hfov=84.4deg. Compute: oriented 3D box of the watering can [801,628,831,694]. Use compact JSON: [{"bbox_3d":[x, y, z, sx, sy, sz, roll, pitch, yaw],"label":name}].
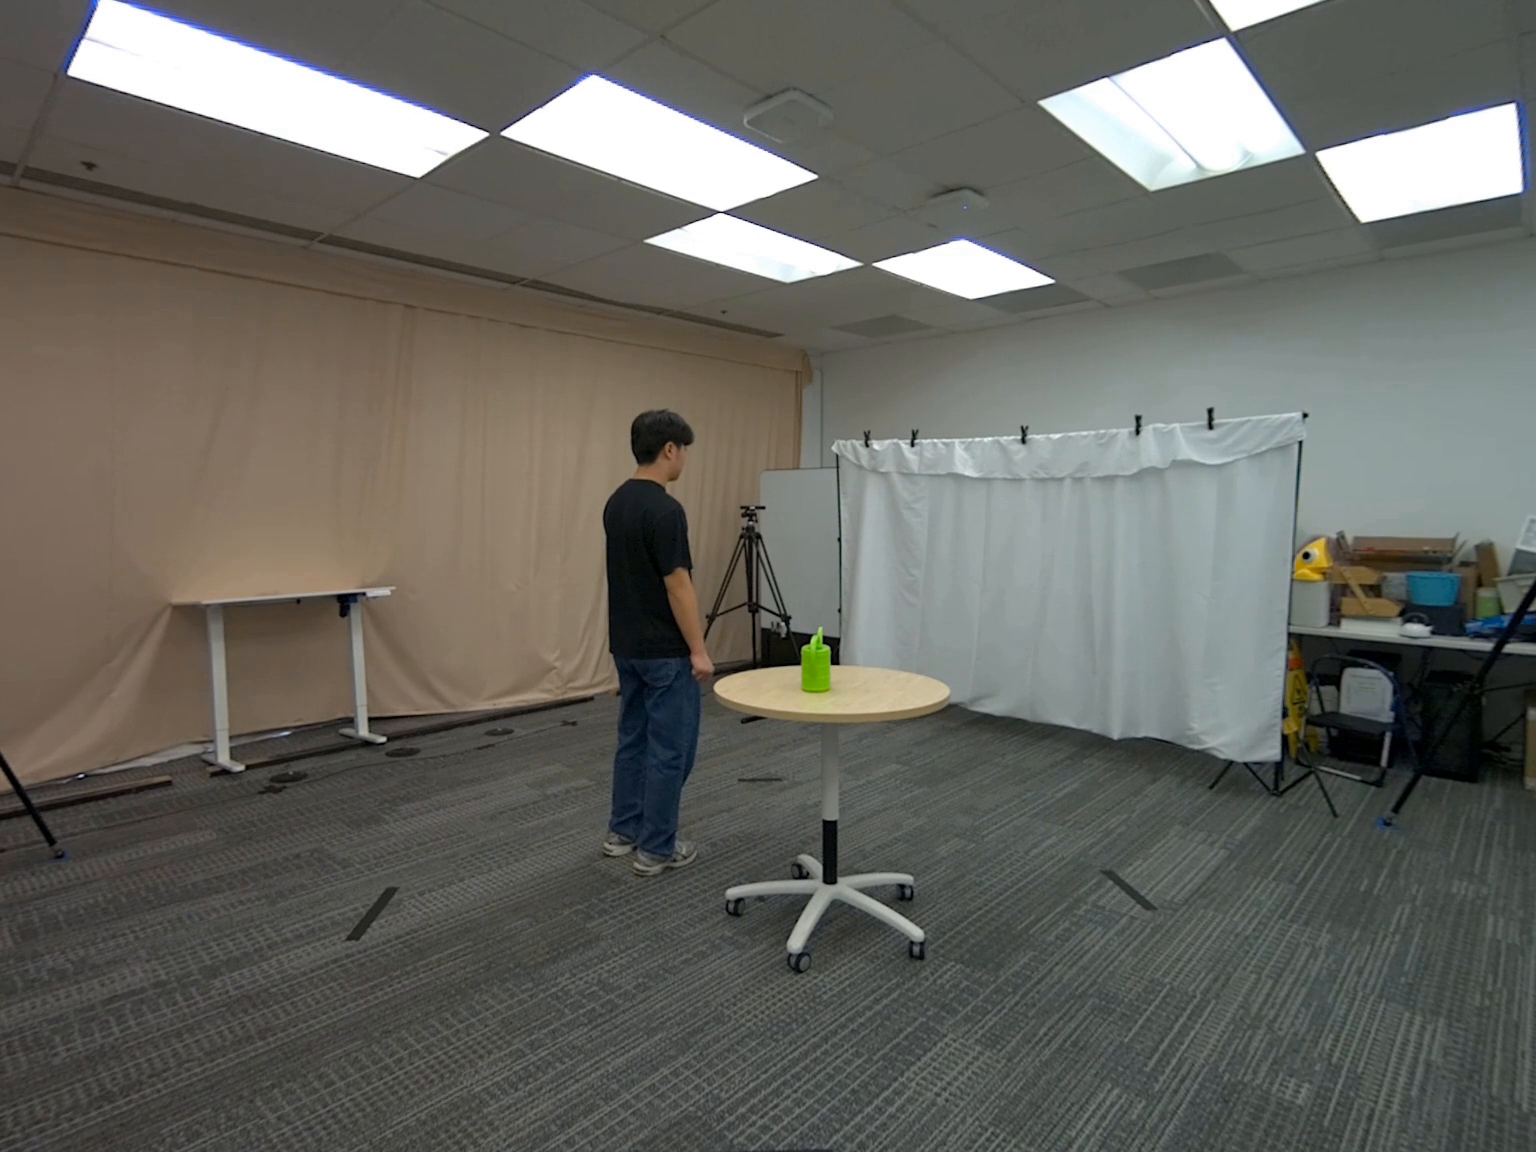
[{"bbox_3d":[0.181,0.281,2.766,0.100,0.176,0.272,1,7,24],"label":"watering can"}]
